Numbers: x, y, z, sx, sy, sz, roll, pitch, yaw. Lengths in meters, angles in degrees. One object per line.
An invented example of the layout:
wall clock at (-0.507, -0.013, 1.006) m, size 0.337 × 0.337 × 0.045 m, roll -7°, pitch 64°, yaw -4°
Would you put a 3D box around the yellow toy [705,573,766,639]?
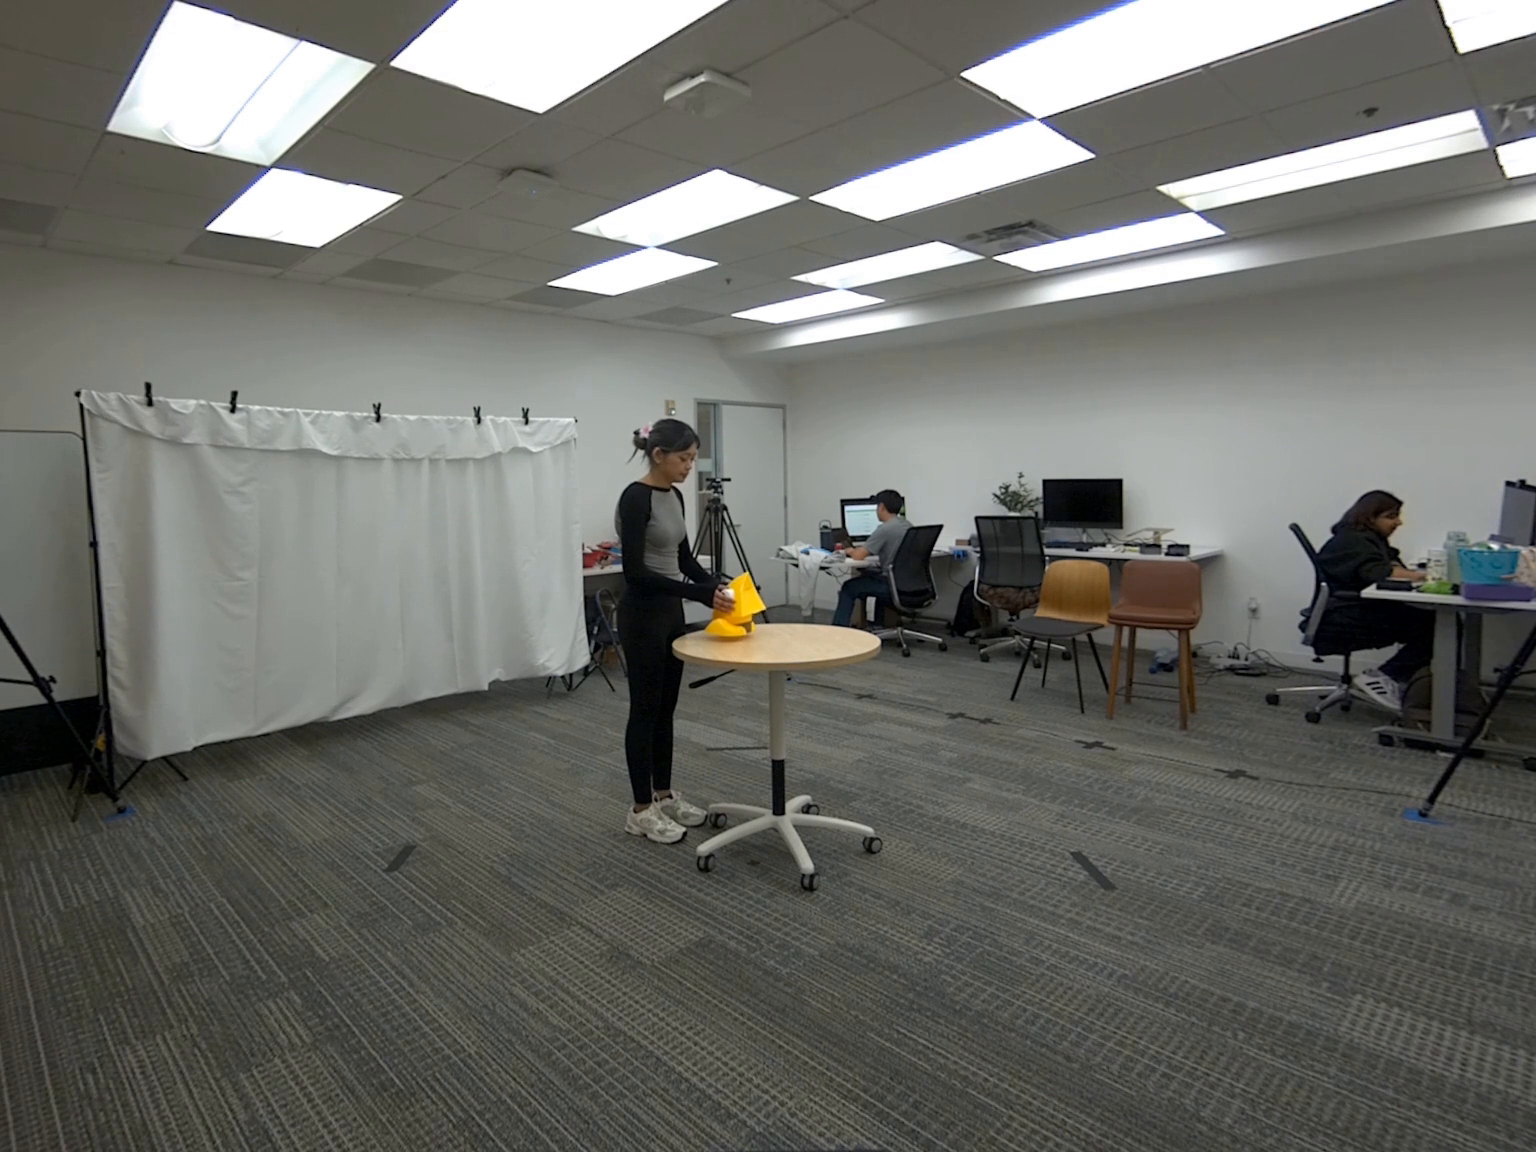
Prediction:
yellow toy at (-0.124, 0.097, 3.229) m, size 0.198 × 0.230 × 0.200 m, roll 3°, pitch 5°, yaw 28°
